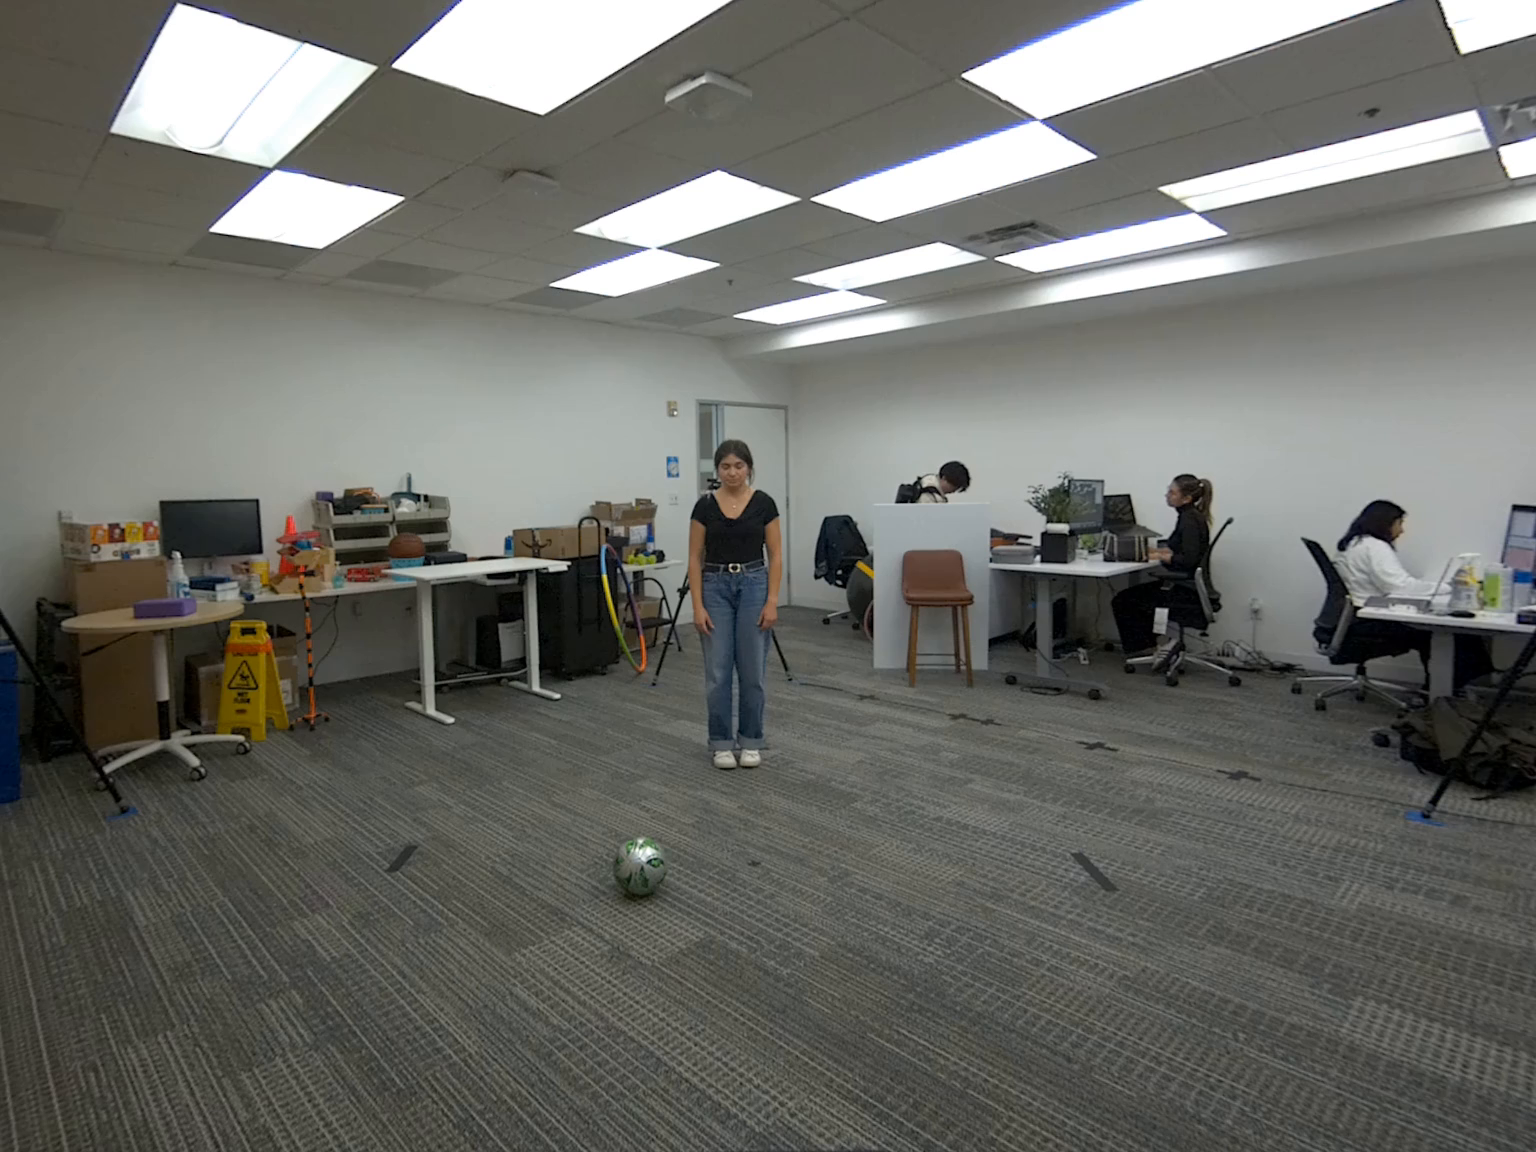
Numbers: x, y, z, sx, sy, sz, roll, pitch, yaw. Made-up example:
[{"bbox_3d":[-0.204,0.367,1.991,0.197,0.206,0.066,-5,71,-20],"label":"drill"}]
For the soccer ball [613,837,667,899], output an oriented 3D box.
[{"bbox_3d":[-0.427,0.985,2.895,0.187,0.187,0.188,-1,5,-2],"label":"soccer ball"}]
